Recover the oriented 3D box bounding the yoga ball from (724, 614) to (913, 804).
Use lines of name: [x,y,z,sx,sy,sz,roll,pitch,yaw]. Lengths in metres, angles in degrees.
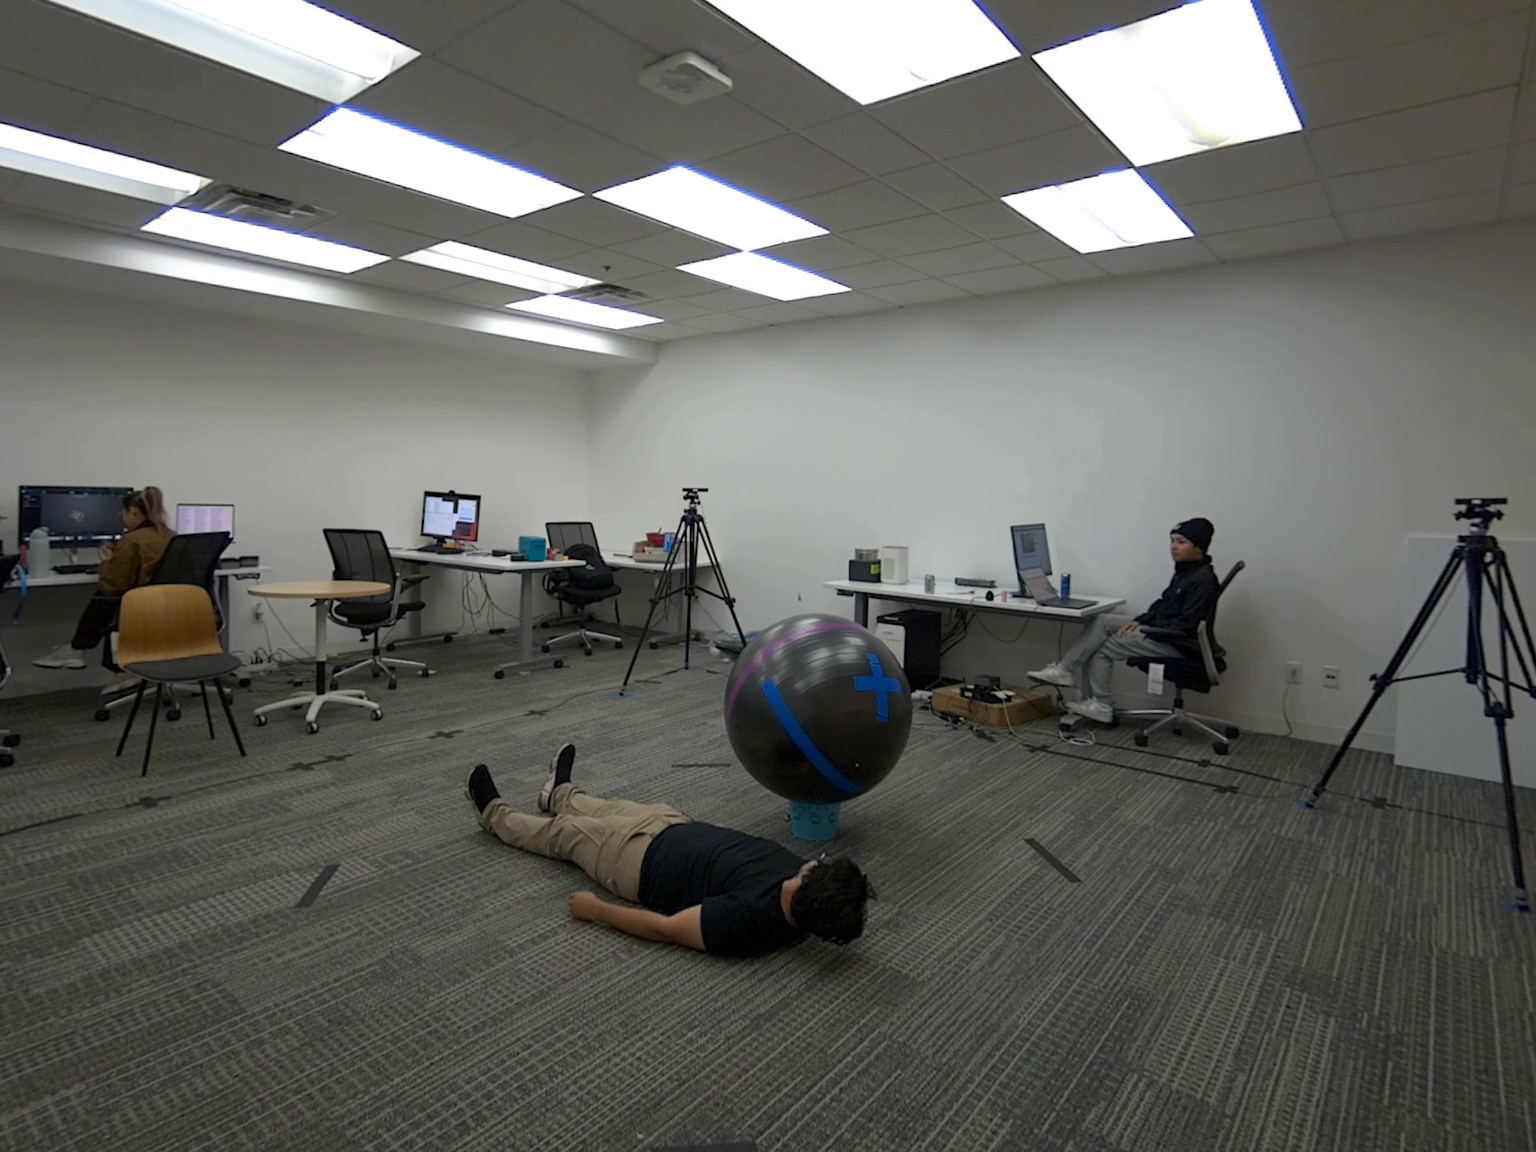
yoga ball: [0.189,0.532,3.459,0.757,0.756,0.761,0,4,-2]
